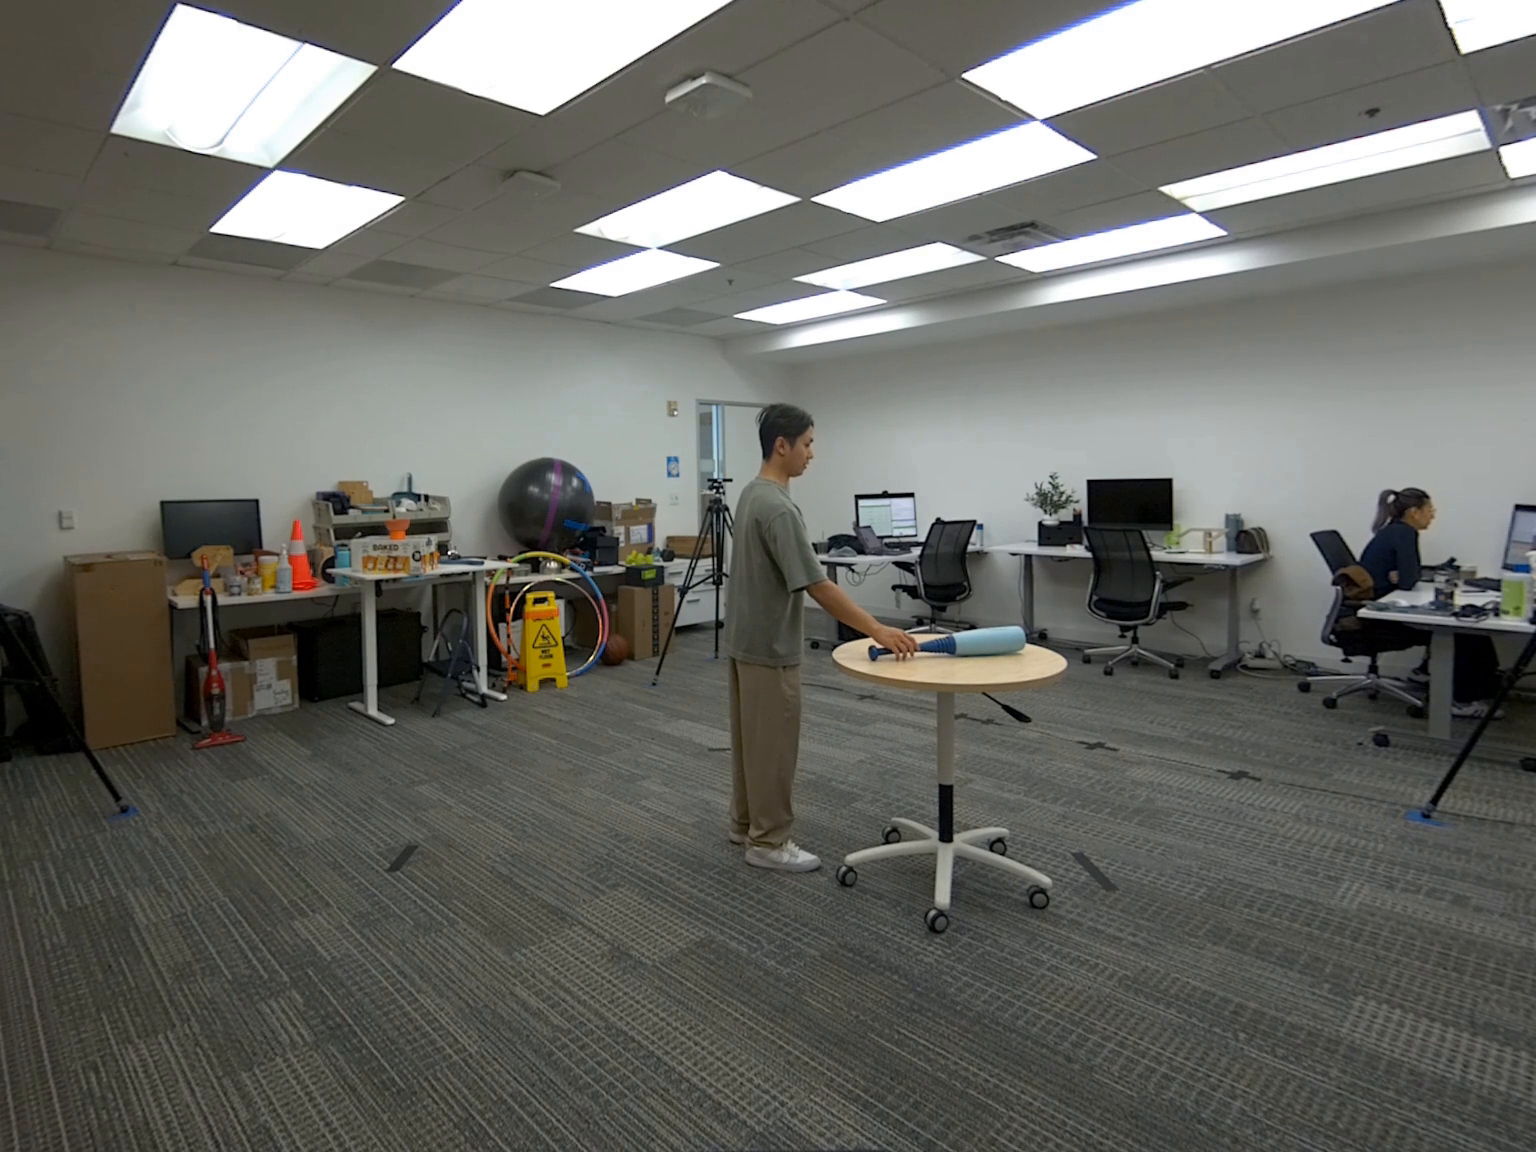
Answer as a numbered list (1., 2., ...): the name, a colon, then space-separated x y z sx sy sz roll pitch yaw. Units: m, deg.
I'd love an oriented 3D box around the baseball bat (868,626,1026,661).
1. baseball bat: 0.609 0.236 2.885 0.538 0.088 0.090 -6 6 -9
